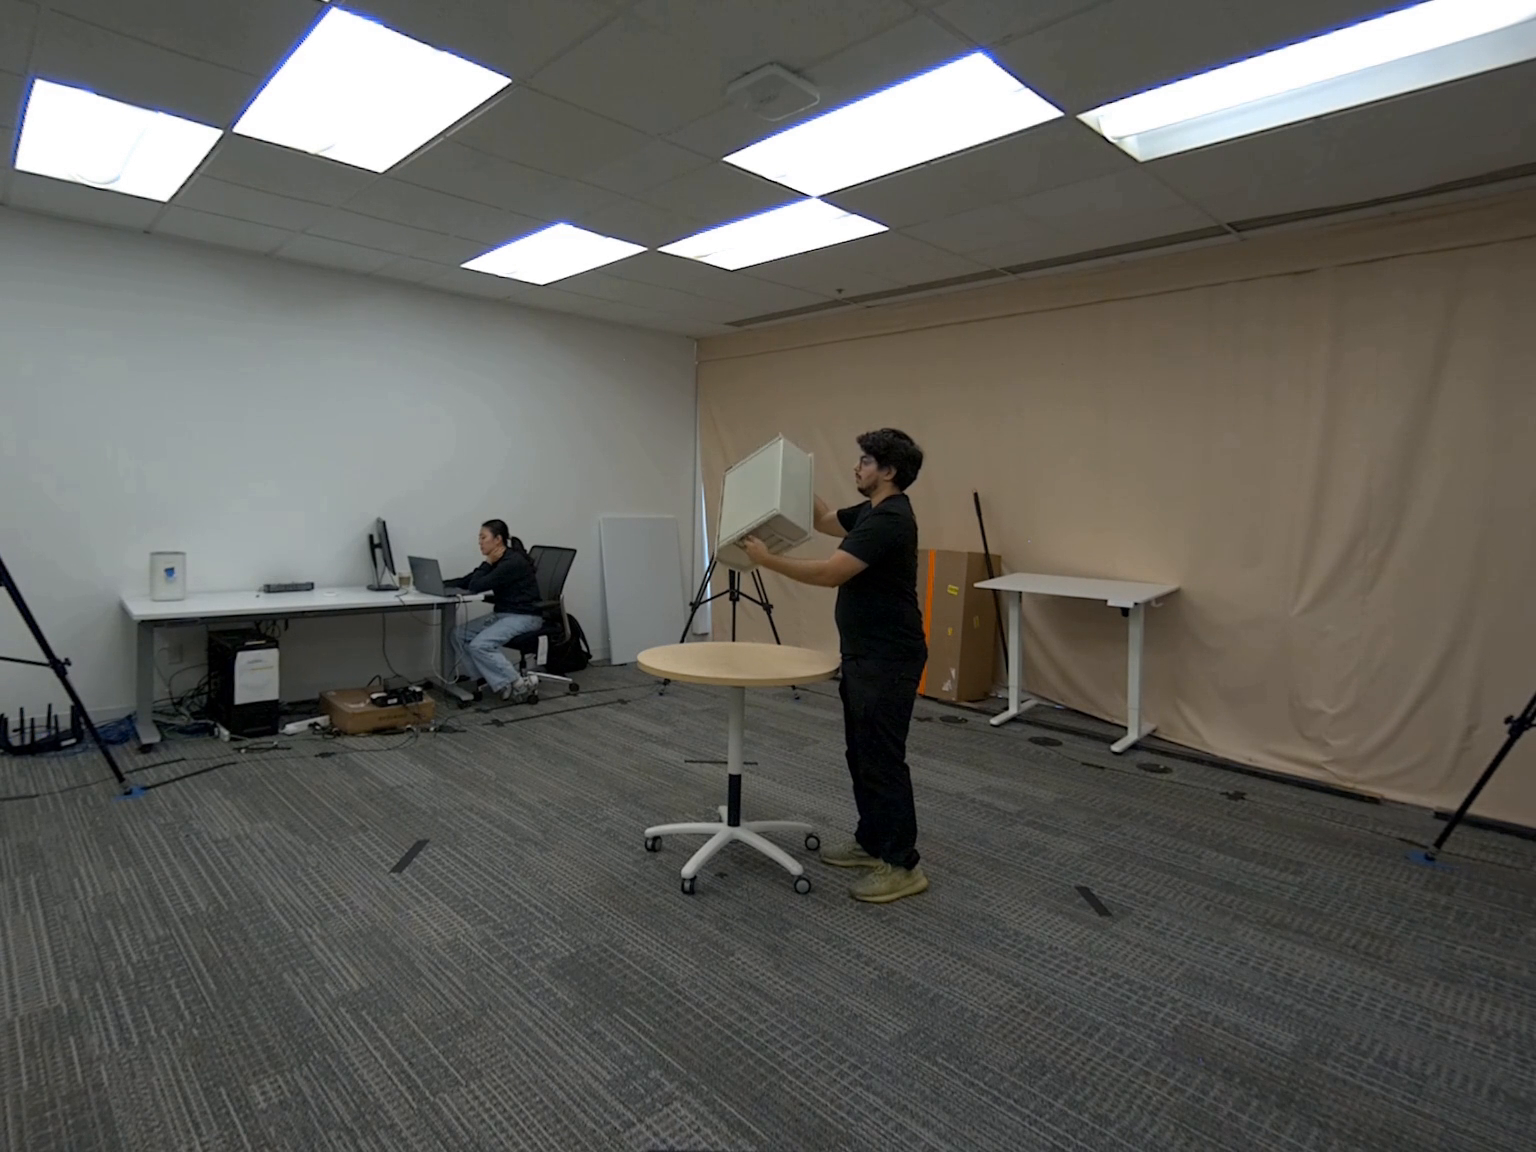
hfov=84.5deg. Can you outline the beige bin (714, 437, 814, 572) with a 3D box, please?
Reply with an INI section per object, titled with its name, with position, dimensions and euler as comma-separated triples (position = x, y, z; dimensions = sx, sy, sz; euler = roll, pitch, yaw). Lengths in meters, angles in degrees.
[beige bin]
position = -0.028, -0.272, 3.220
dimensions = 0.184, 0.430, 0.380
euler = 33, -46, -31
